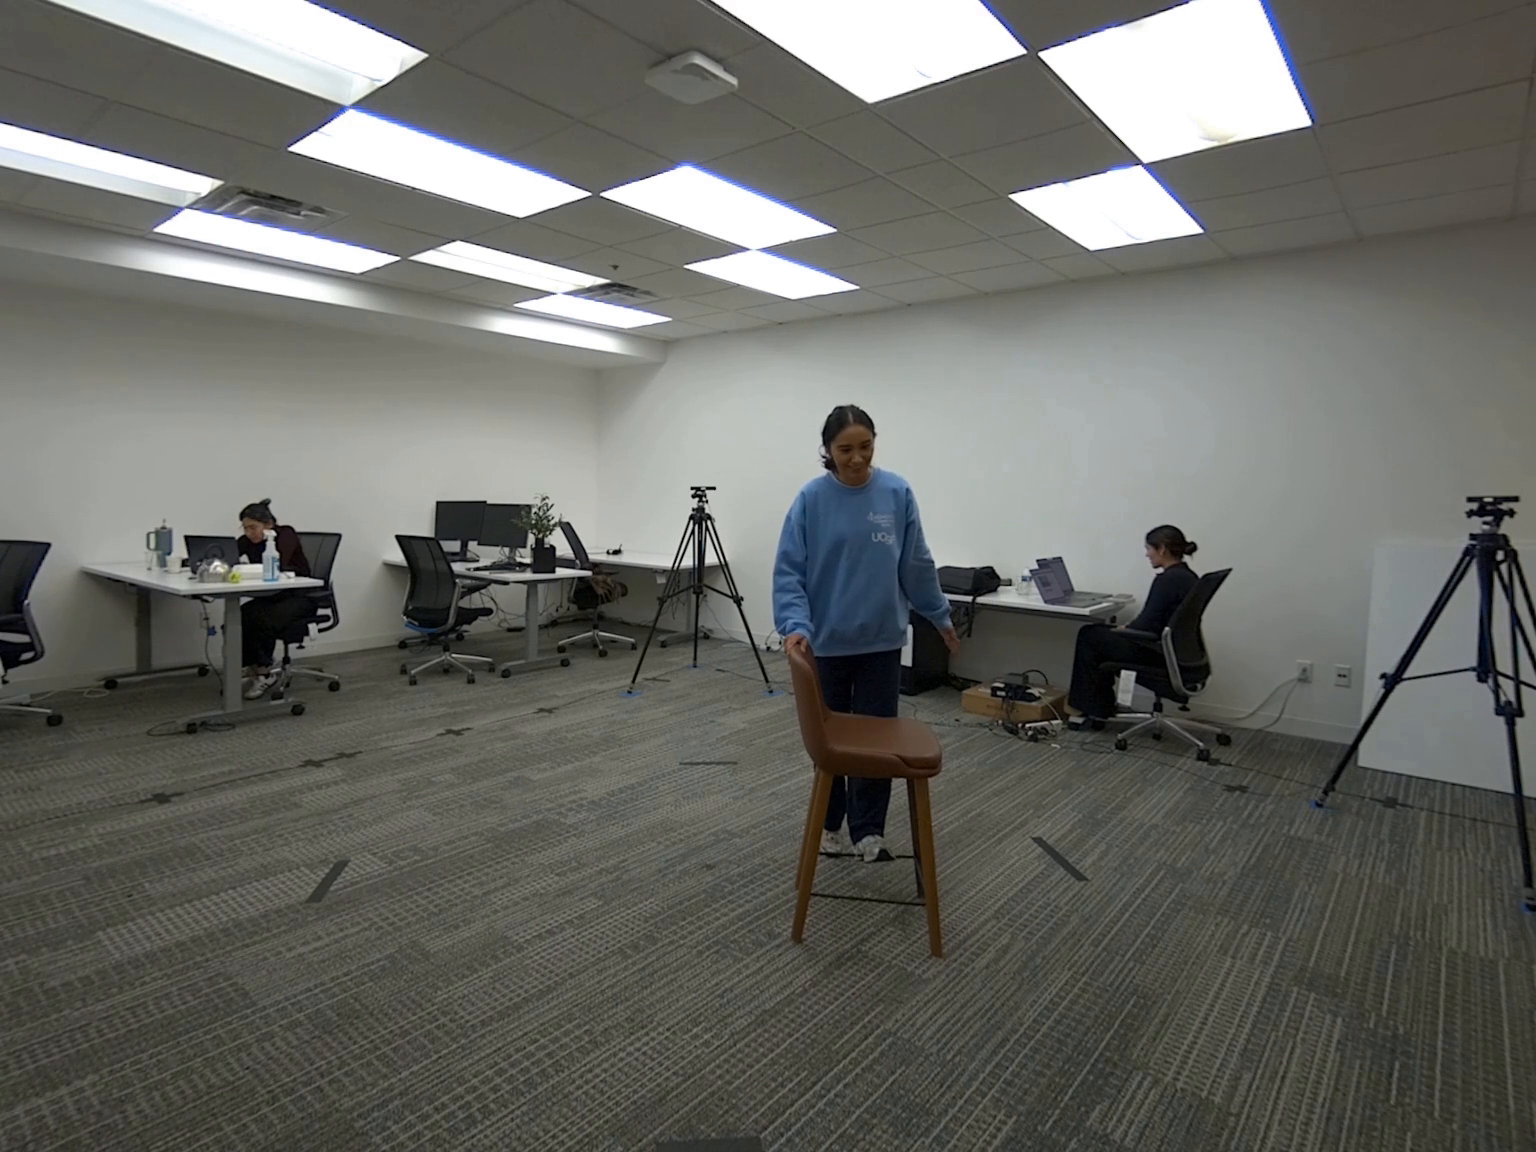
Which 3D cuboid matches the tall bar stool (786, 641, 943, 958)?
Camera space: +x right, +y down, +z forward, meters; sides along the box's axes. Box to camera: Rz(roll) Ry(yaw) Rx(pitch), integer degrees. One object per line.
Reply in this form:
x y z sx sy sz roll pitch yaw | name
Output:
0.308 0.677 2.744 0.471 0.887 0.454 0 3 6 | tall bar stool
